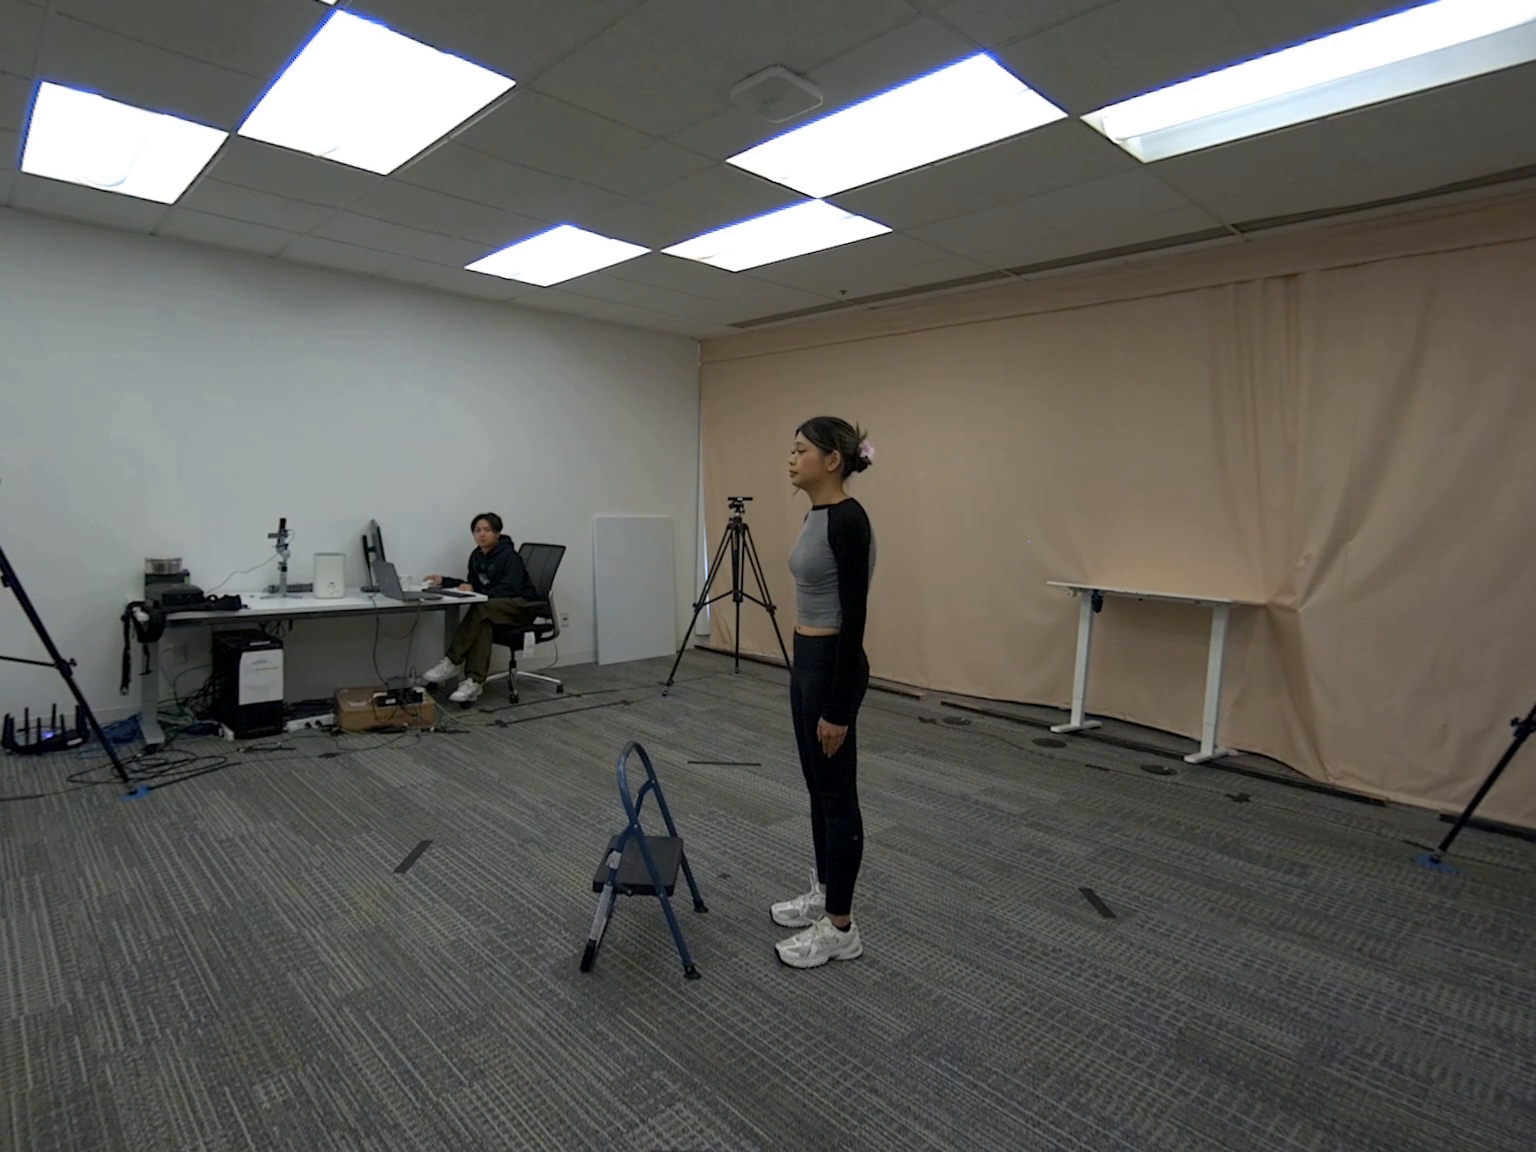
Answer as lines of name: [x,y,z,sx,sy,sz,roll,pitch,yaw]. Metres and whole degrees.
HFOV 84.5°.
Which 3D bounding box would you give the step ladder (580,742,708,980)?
step ladder: [-0.377,0.847,2.633,0.349,0.604,0.432,1,4,0]
